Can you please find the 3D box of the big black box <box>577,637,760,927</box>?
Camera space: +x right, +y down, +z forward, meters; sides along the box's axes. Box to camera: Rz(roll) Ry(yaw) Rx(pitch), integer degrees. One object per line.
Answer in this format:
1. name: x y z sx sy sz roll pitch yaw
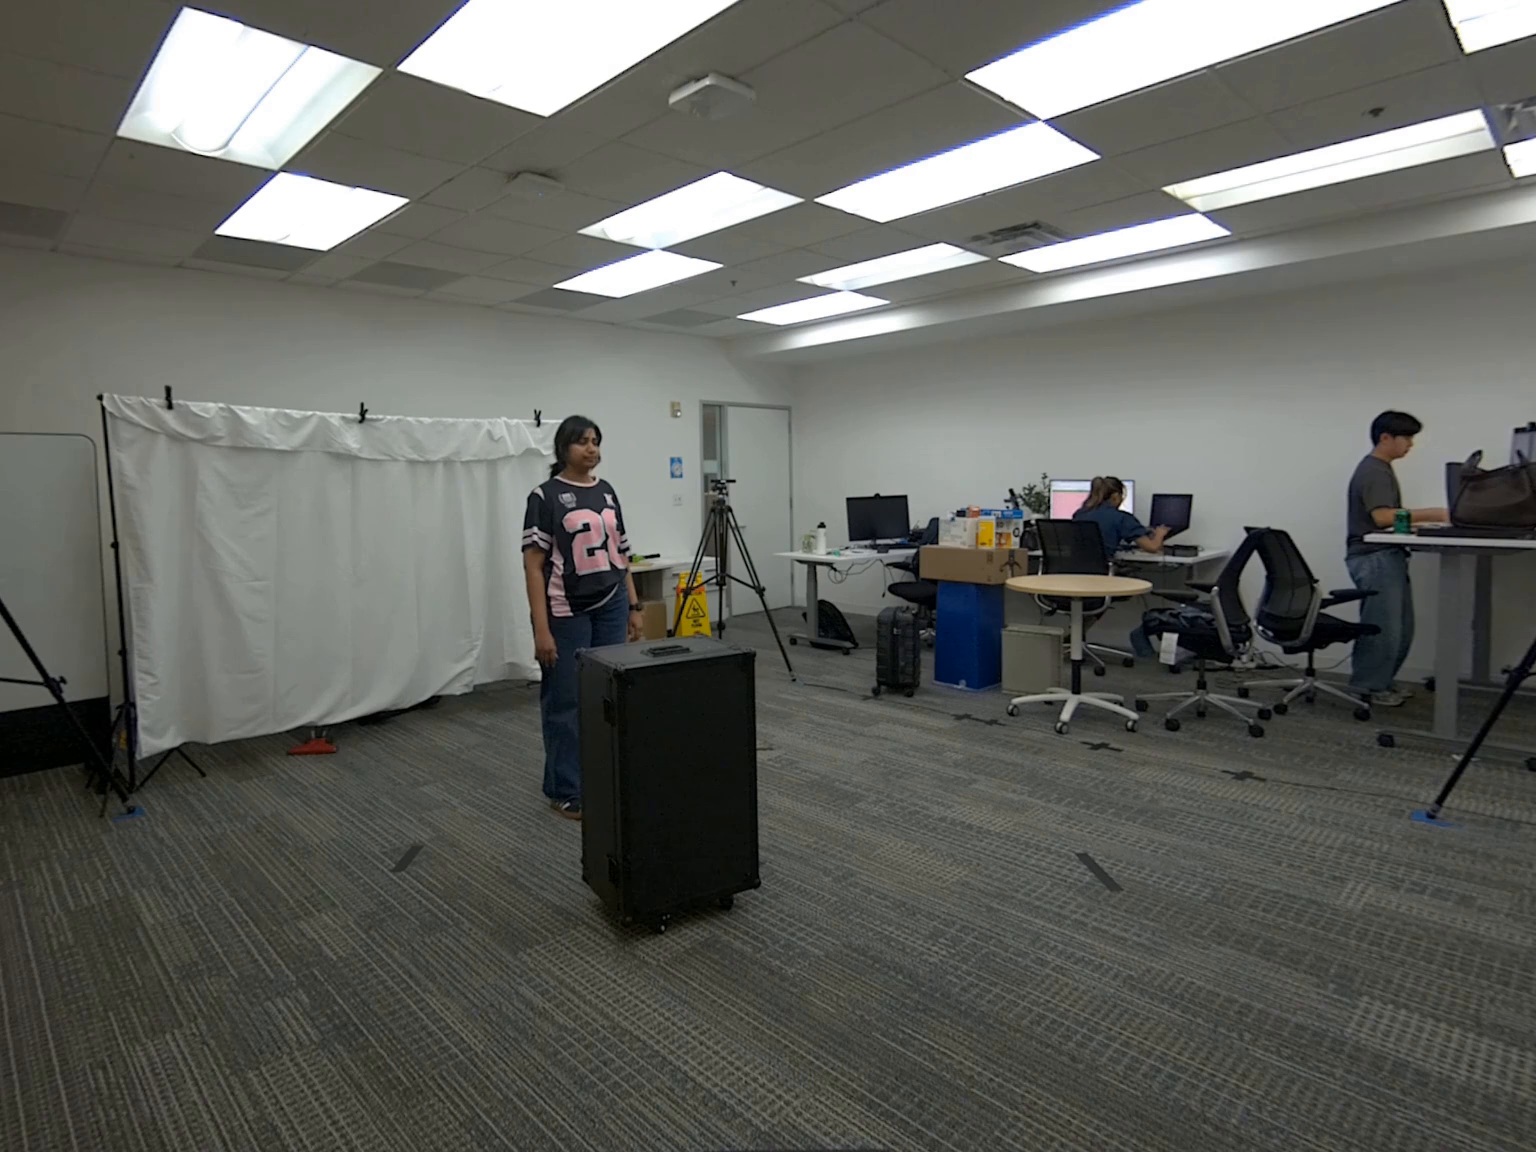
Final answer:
1. big black box: -0.335 0.667 2.794 0.511 0.865 0.396 -4 5 -31
